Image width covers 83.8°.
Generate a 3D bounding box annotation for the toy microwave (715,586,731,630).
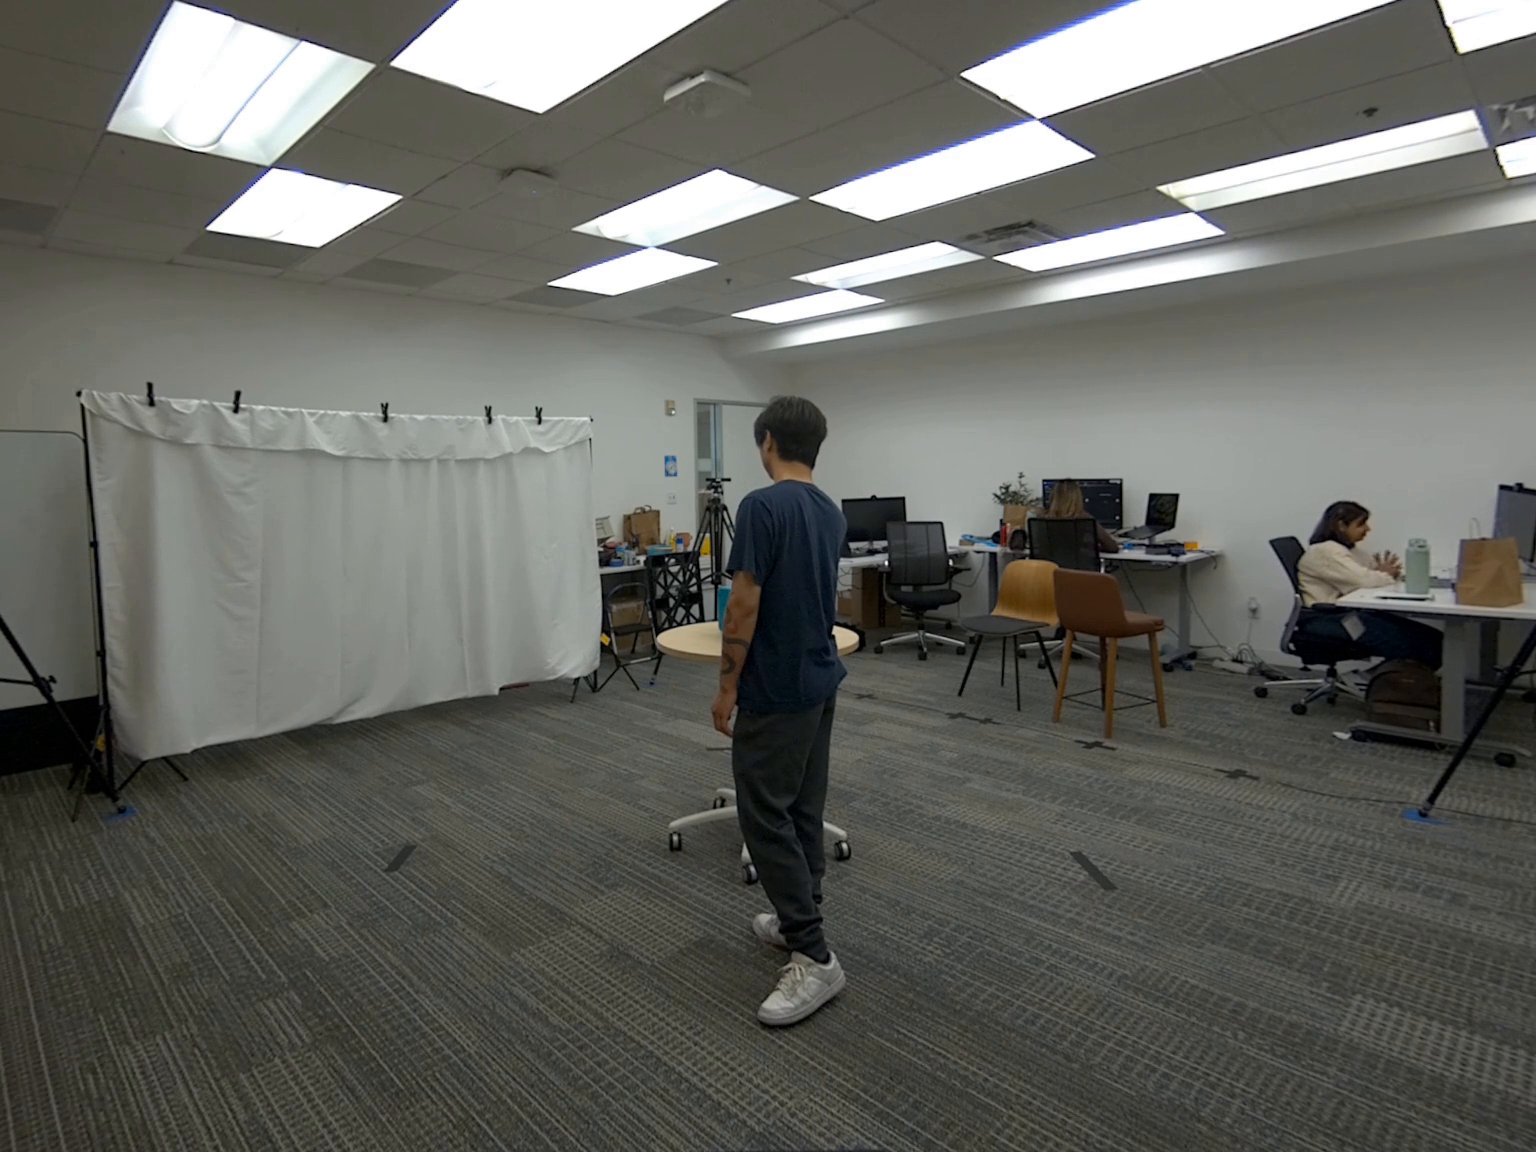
[{"bbox_3d":[-0.049,0.138,3.265,0.148,0.183,0.295,-4,7,-36],"label":"toy microwave"}]
